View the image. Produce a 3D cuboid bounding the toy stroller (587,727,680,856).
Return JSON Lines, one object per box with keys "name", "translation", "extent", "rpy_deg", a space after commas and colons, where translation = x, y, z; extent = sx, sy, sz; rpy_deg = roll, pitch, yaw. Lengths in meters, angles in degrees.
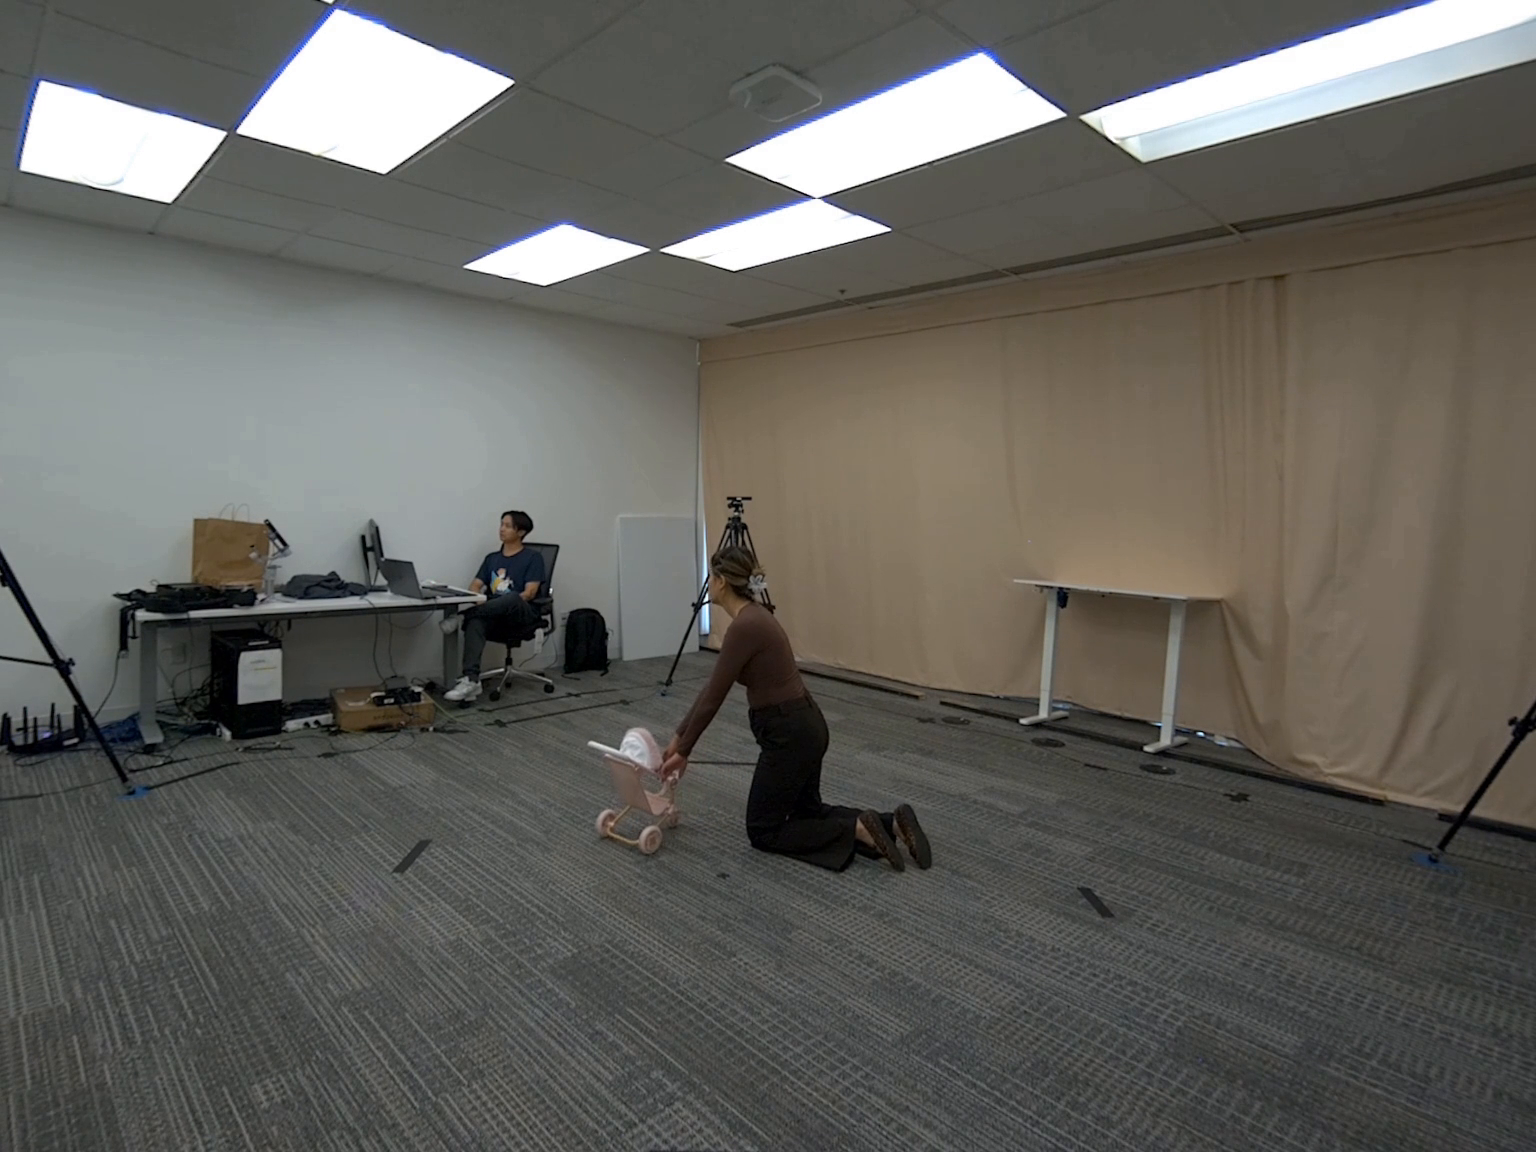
{"name": "toy stroller", "translation": [-0.513, 0.841, 3.396], "extent": [0.289, 0.528, 0.337], "rpy_deg": [6, 20, 42]}
